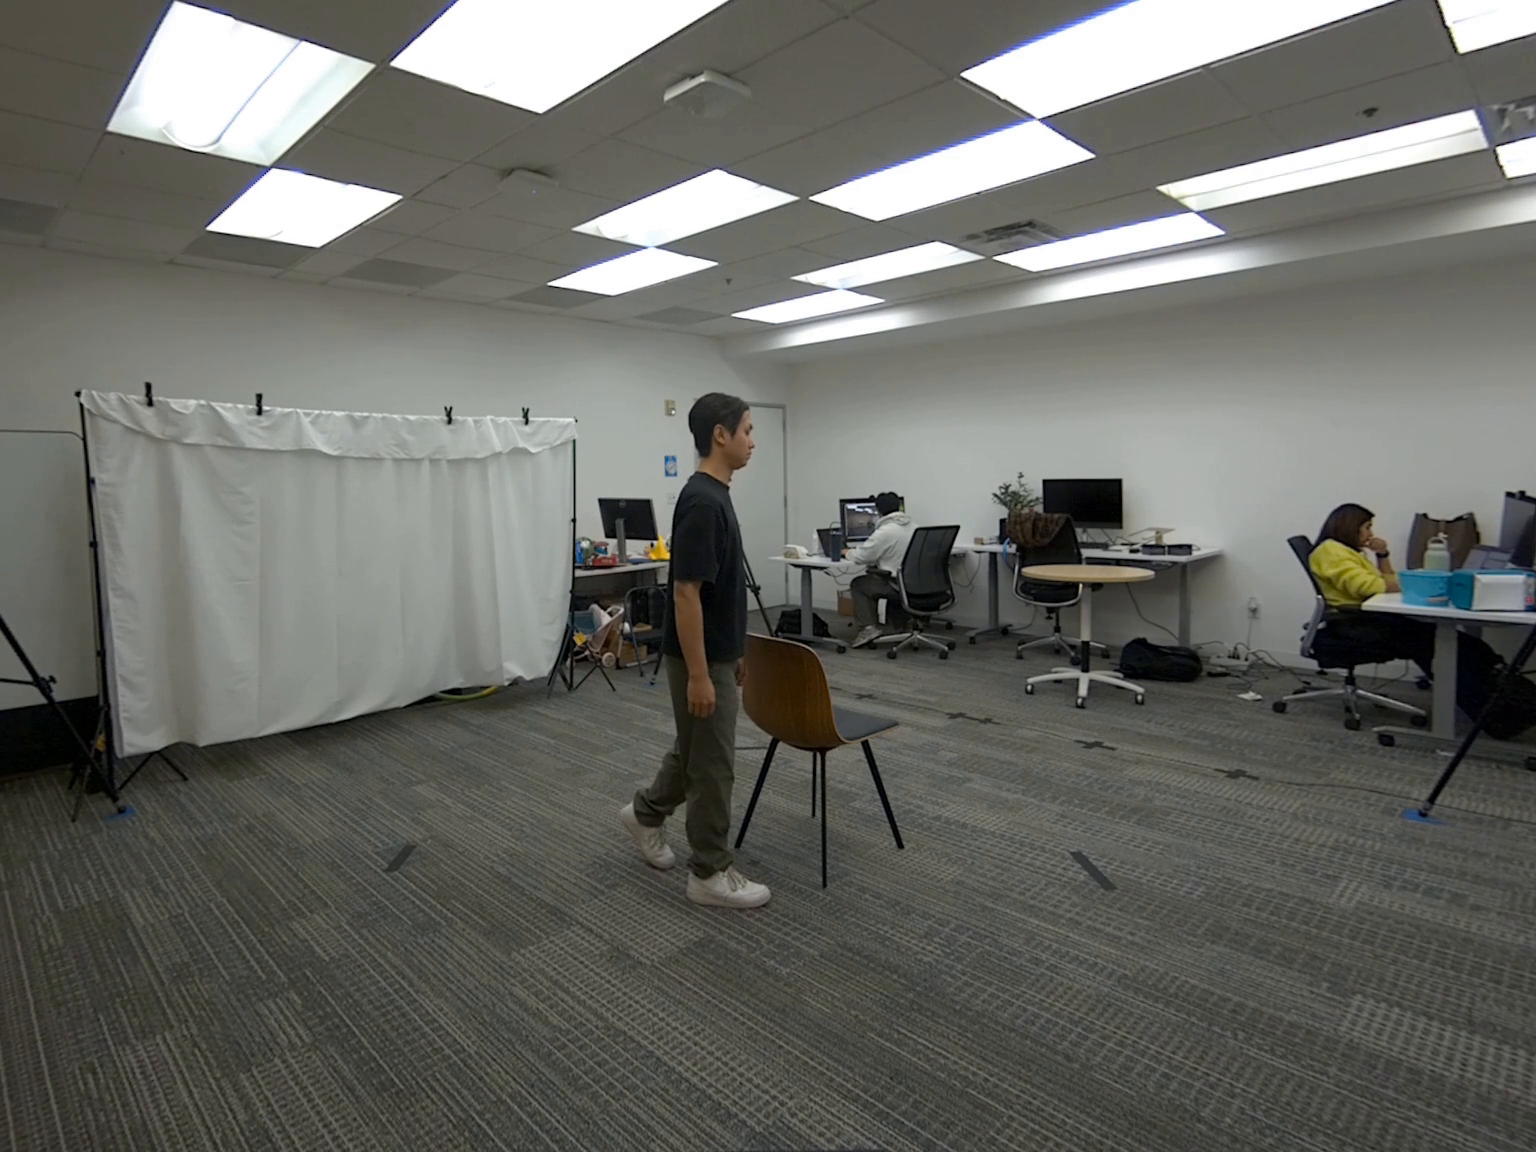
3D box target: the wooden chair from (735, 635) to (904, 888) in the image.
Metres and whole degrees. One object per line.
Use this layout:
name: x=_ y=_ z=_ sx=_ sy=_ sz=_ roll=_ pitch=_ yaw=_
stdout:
wooden chair: x=0.193 y=0.602 z=3.195 sx=0.511 sy=0.872 sz=0.493 roll=-11 pitch=10 yaw=-43
